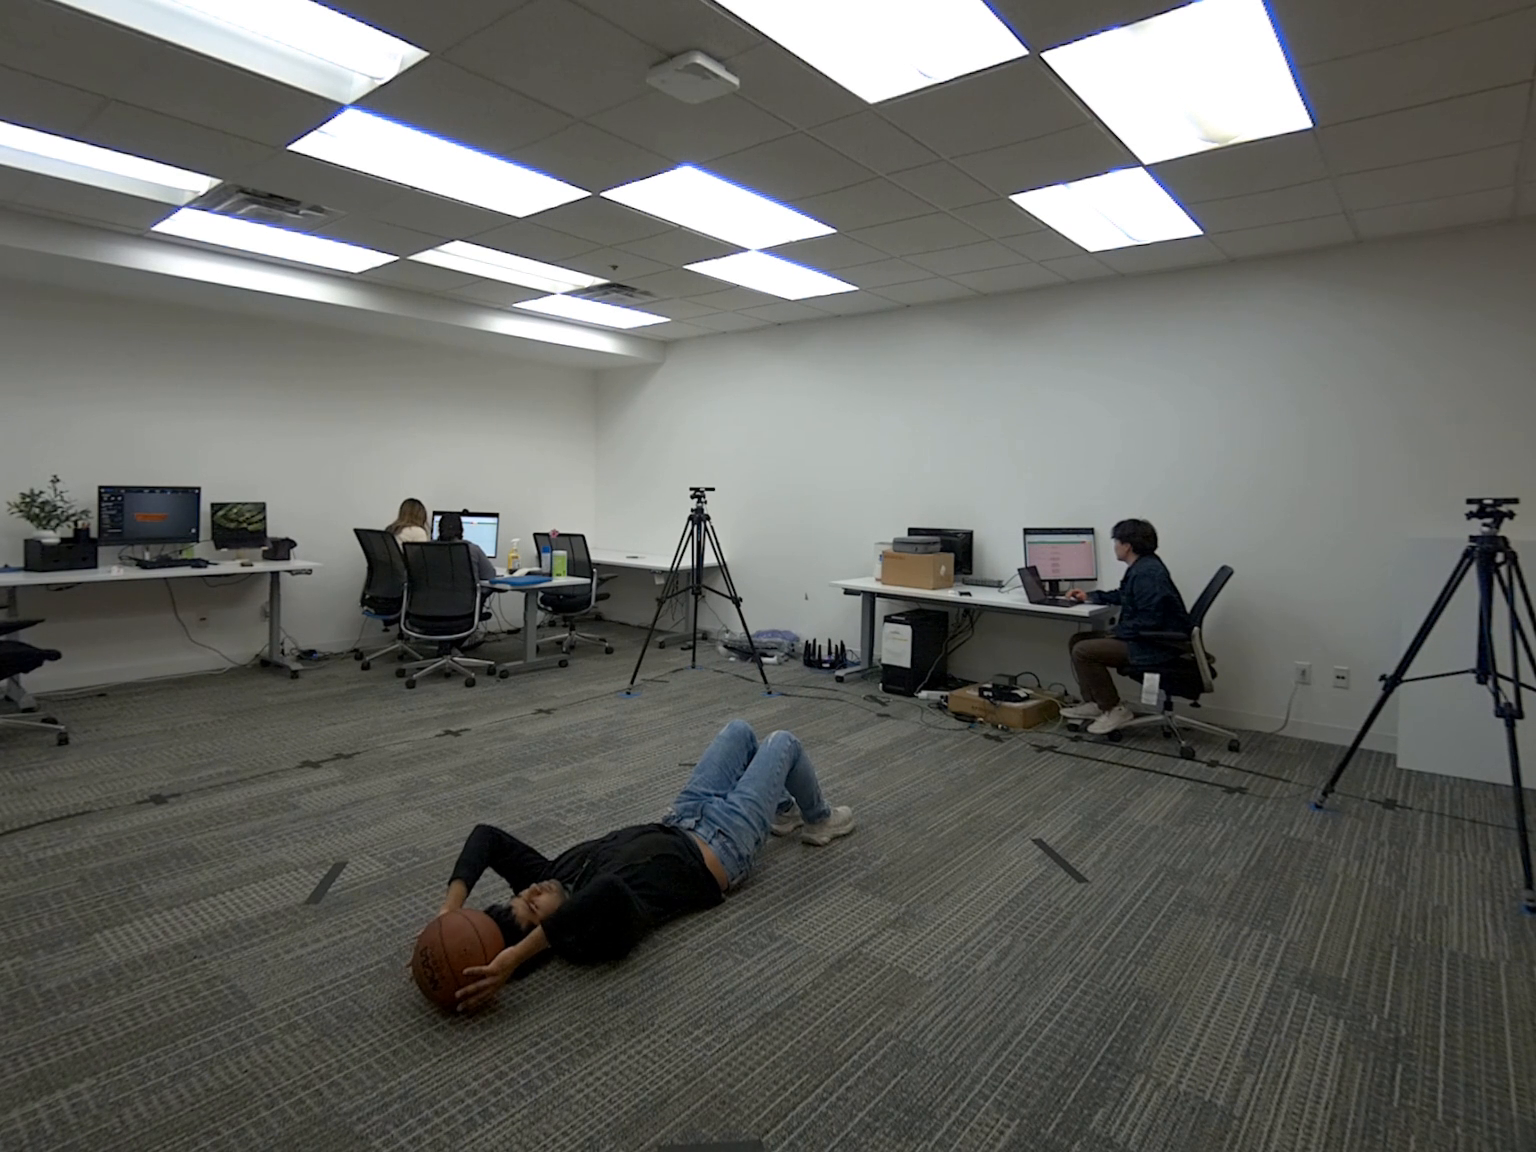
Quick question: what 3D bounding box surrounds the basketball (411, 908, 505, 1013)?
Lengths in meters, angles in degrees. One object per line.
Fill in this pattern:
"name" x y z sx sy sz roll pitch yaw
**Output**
"basketball" -0.833 1.017 2.284 0.235 0.235 0.237 1 4 -2
